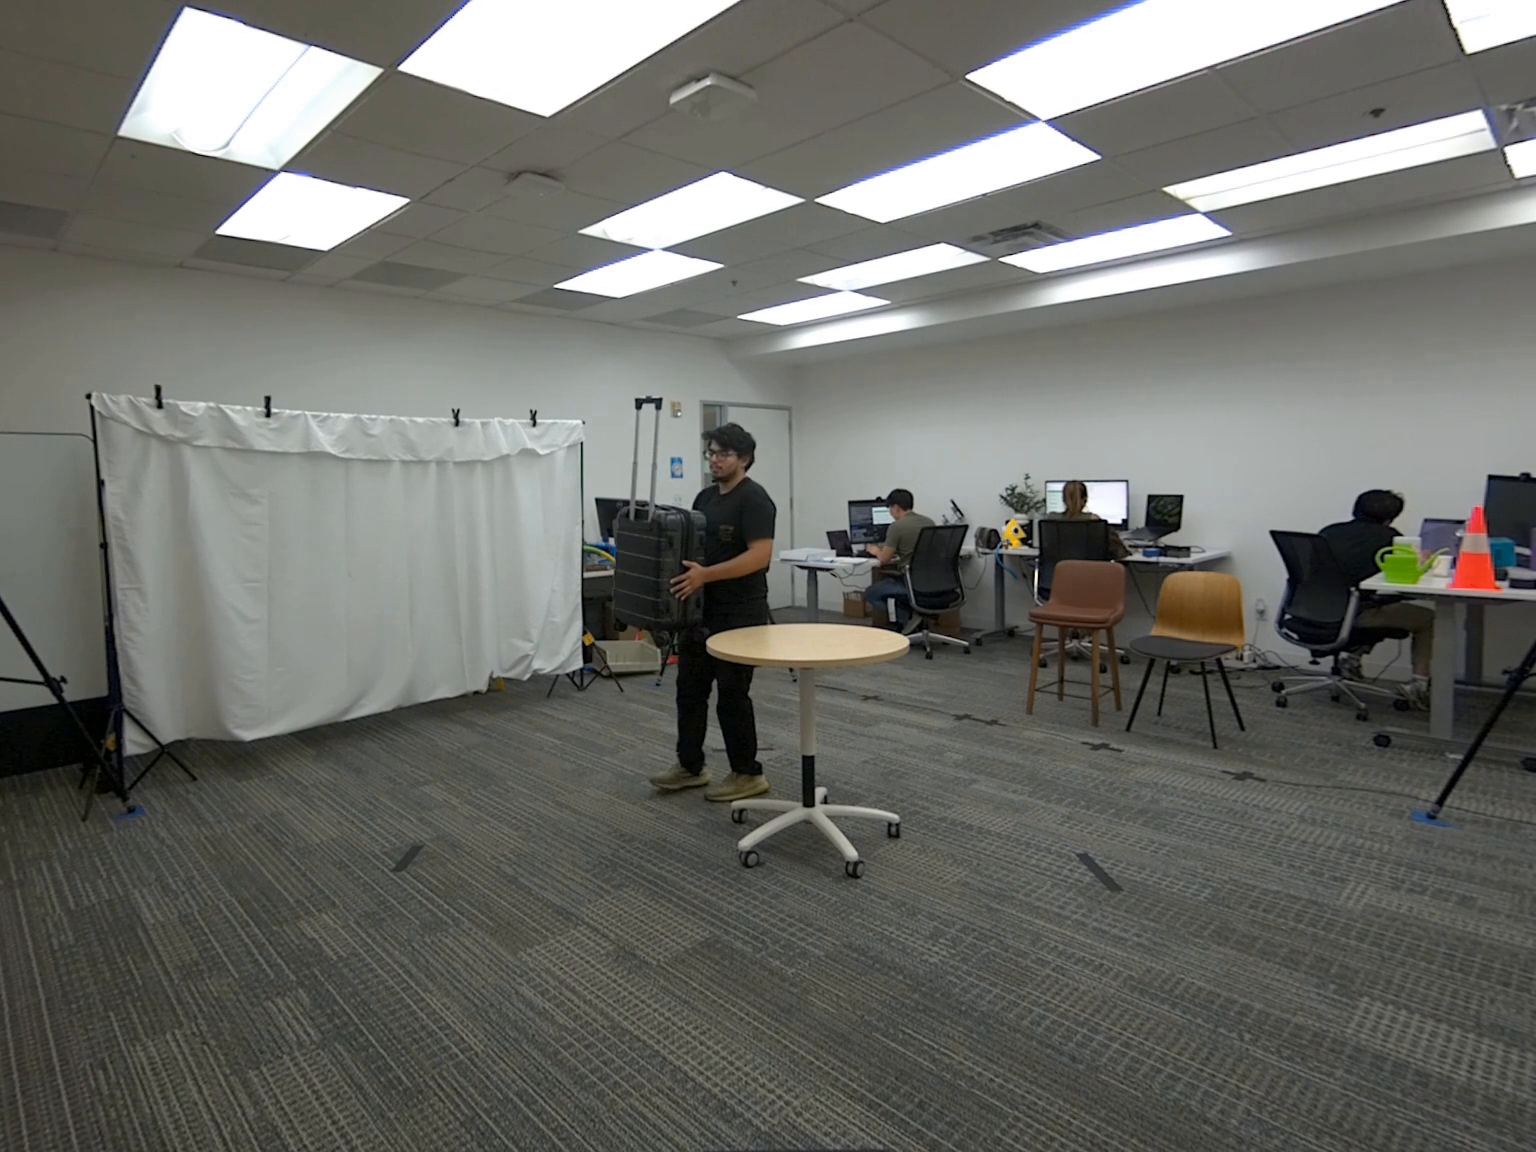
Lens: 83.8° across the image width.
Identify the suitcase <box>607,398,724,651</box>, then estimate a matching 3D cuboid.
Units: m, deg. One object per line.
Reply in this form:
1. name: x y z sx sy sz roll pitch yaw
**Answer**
1. suitcase: -0.434 -0.229 3.540 0.250 0.974 0.397 -1 7 -38
